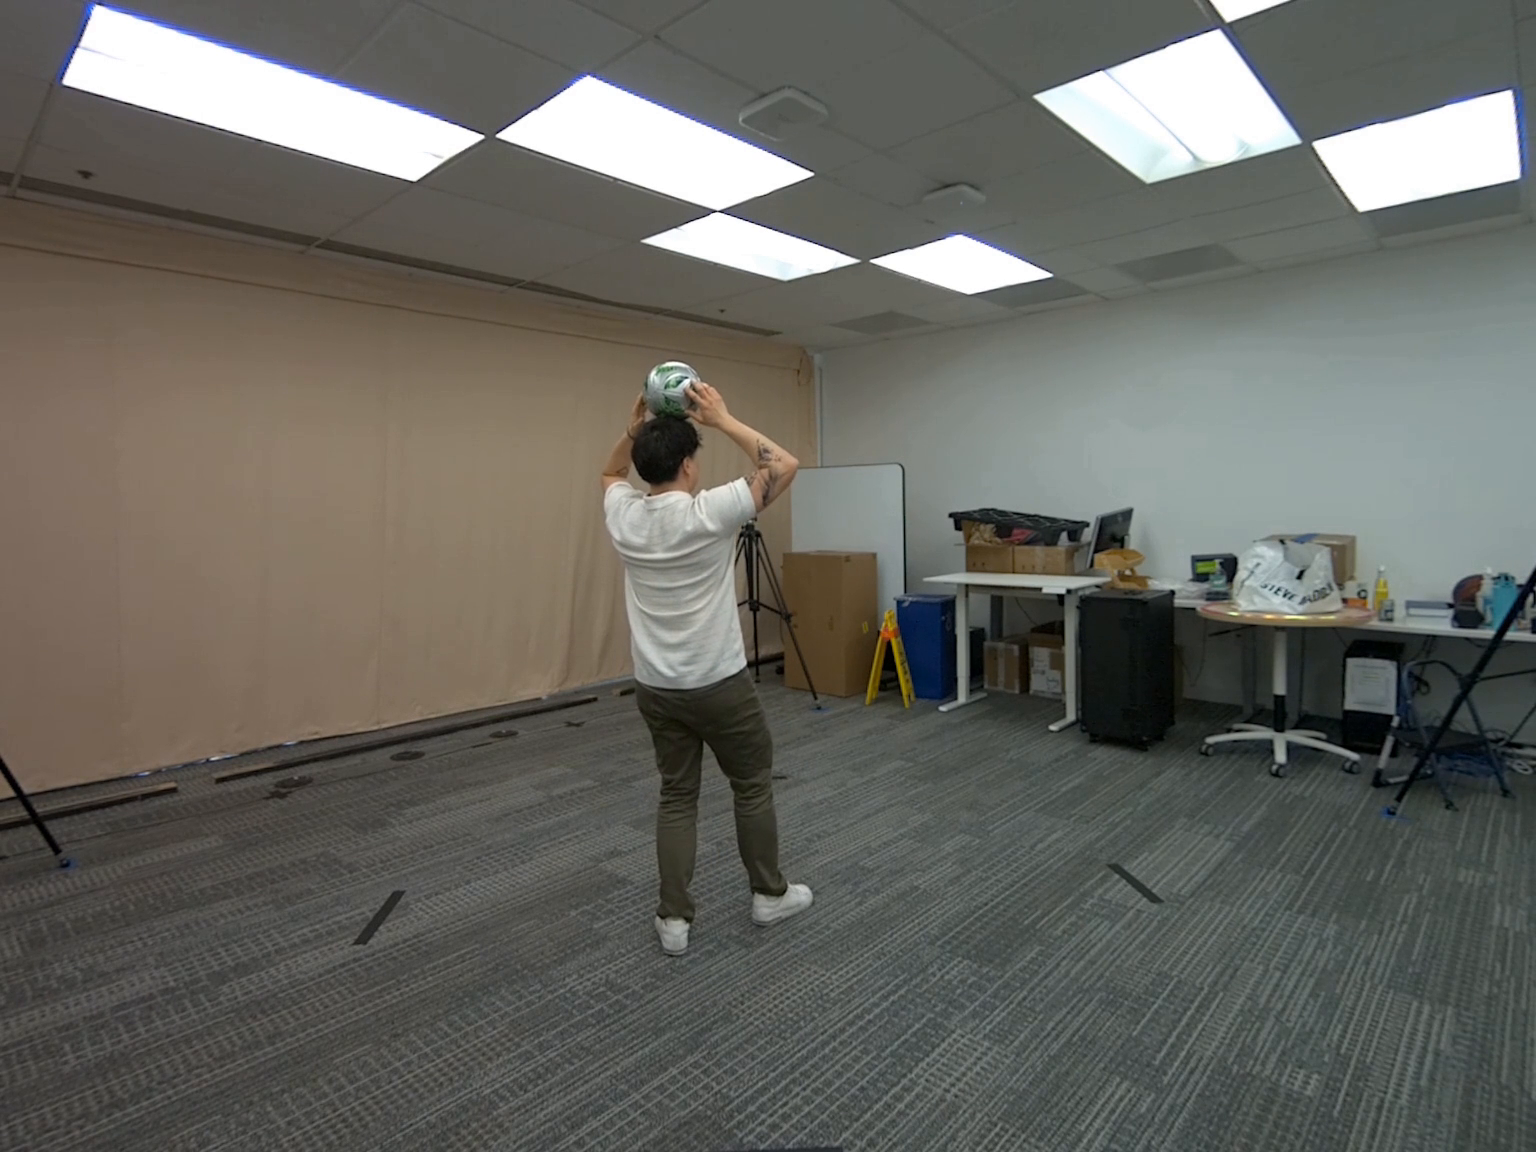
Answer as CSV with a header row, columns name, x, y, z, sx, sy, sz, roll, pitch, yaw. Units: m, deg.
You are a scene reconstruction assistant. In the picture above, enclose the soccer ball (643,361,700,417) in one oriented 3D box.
name,x,y,z,sx,sy,sz,roll,pitch,yaw
soccer ball,-0.294,-0.570,2.621,0.187,0.187,0.188,-1,4,-2
